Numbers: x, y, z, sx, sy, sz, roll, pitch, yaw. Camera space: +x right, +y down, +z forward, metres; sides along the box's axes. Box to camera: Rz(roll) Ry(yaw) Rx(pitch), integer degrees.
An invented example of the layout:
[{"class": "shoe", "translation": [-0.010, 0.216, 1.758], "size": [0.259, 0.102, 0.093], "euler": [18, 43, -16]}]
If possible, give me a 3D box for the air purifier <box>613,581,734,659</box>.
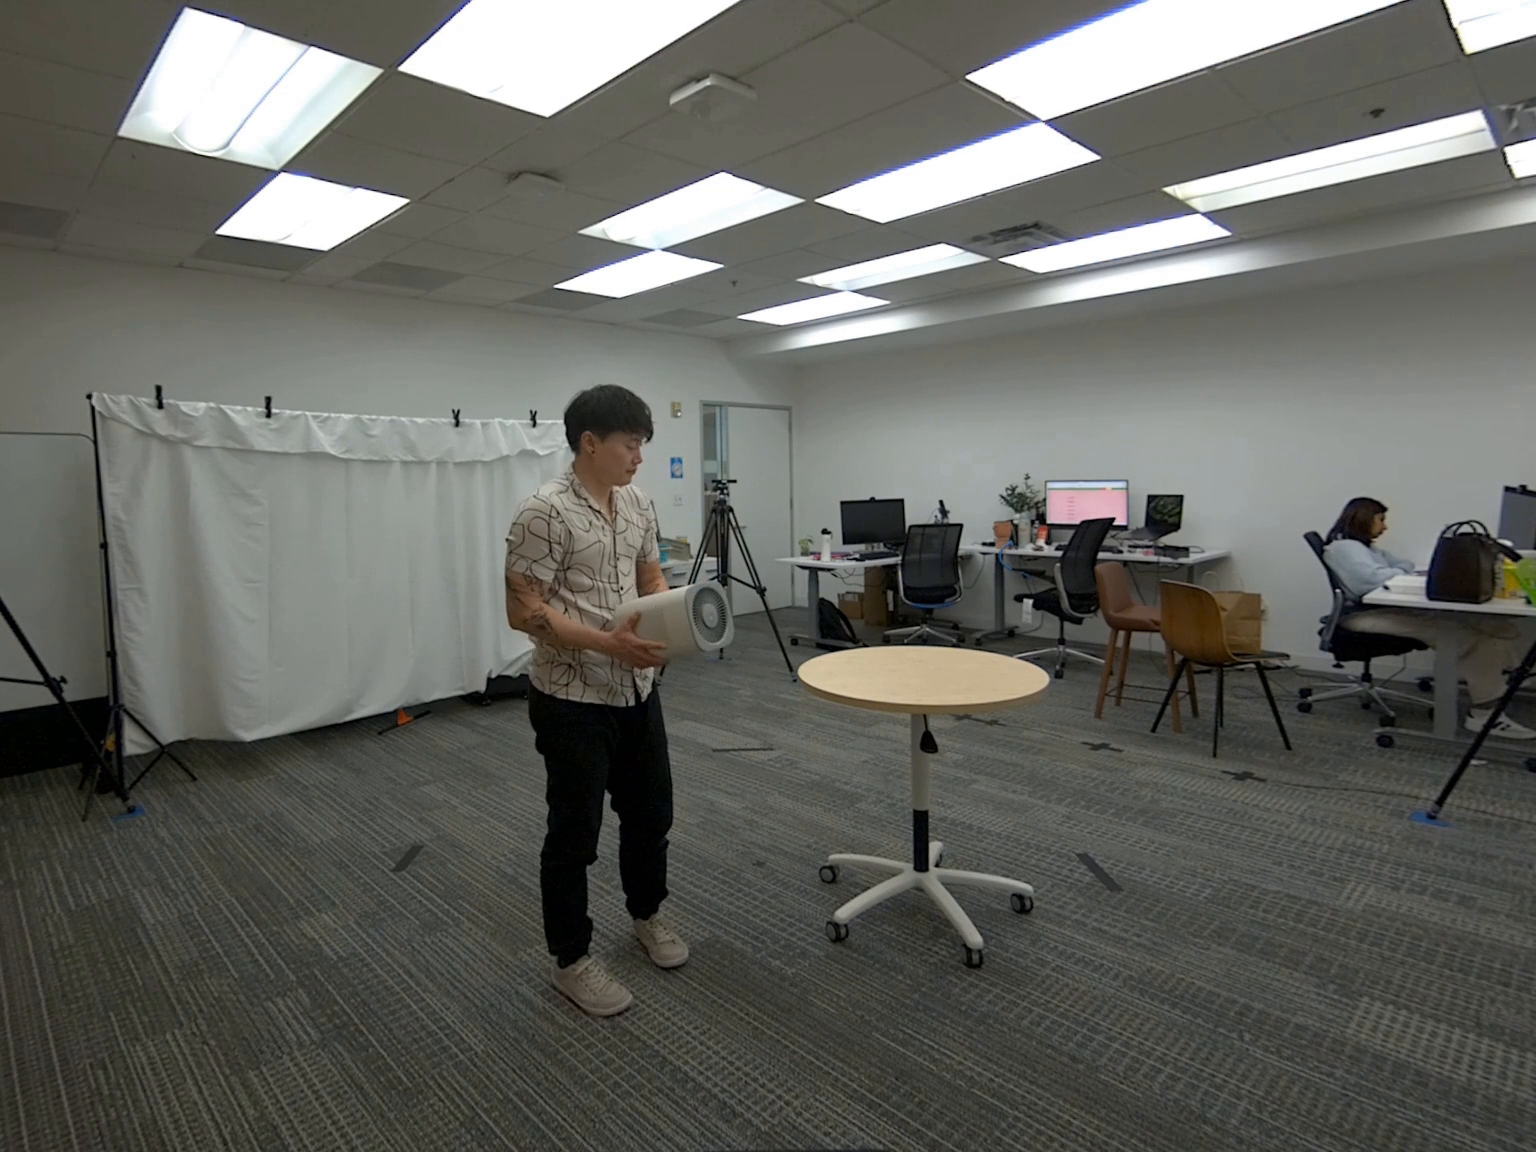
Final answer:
[{"class": "air purifier", "translation": [-0.252, 0.123, 2.194], "size": [0.270, 0.172, 0.167], "euler": [-15, 0, 35]}]
